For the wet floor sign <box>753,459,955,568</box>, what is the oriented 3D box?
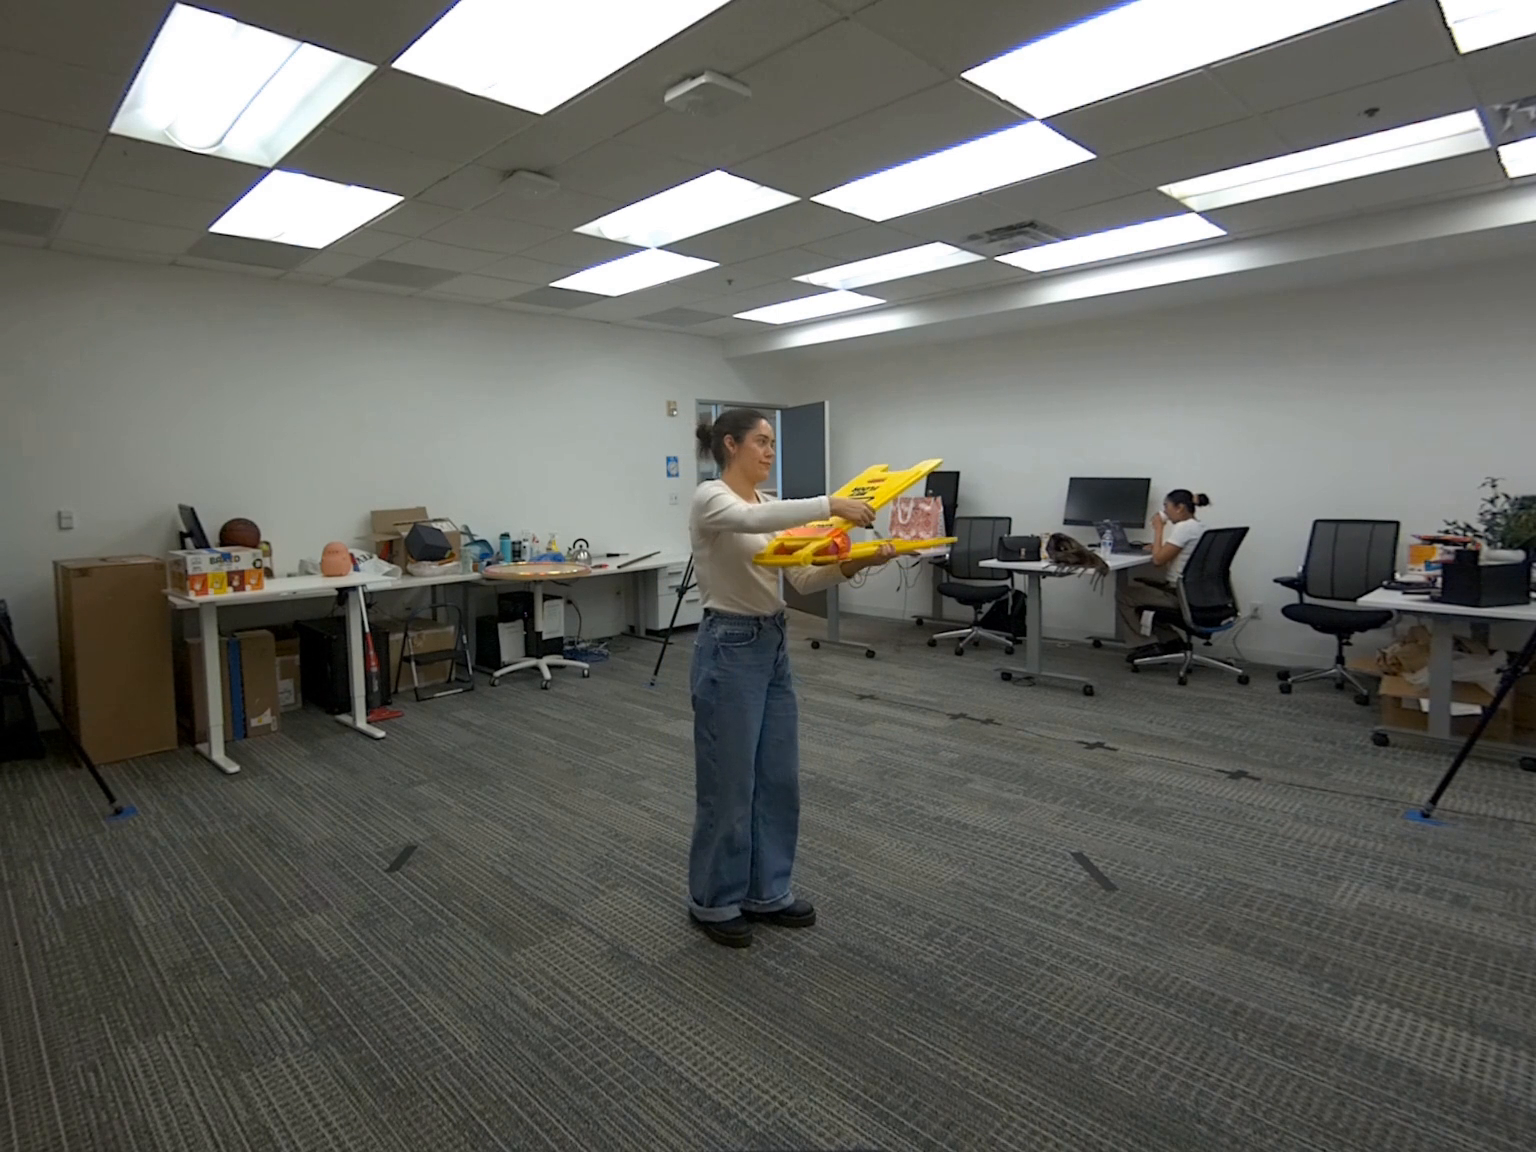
[{"bbox_3d":[0.248,-0.127,2.497,0.635,0.287,0.290,-22,13,-42],"label":"wet floor sign"}]
